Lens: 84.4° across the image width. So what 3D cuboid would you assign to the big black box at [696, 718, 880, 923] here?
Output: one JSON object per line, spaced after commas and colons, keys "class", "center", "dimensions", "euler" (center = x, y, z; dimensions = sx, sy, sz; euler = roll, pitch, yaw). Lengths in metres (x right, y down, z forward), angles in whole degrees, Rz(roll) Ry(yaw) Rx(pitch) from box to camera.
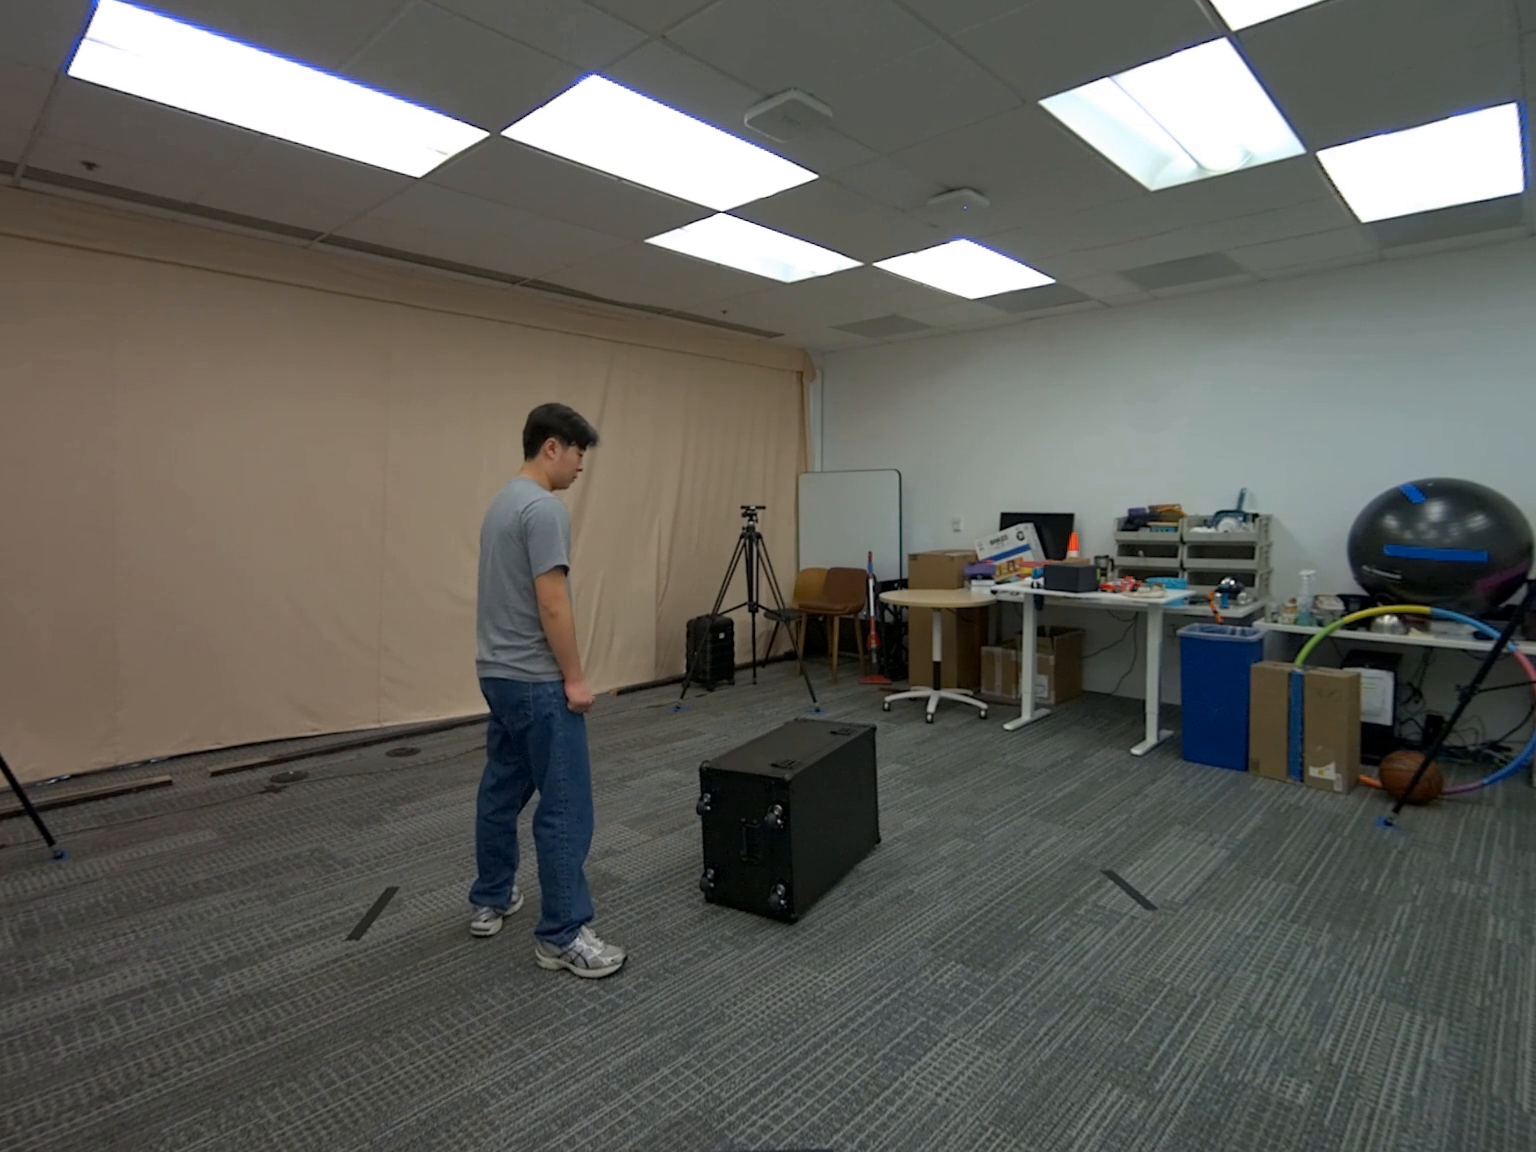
{"class": "big black box", "center": [0.084, 0.869, 3.167], "dimensions": [0.407, 0.520, 0.839], "euler": [-1, 3, 29]}
